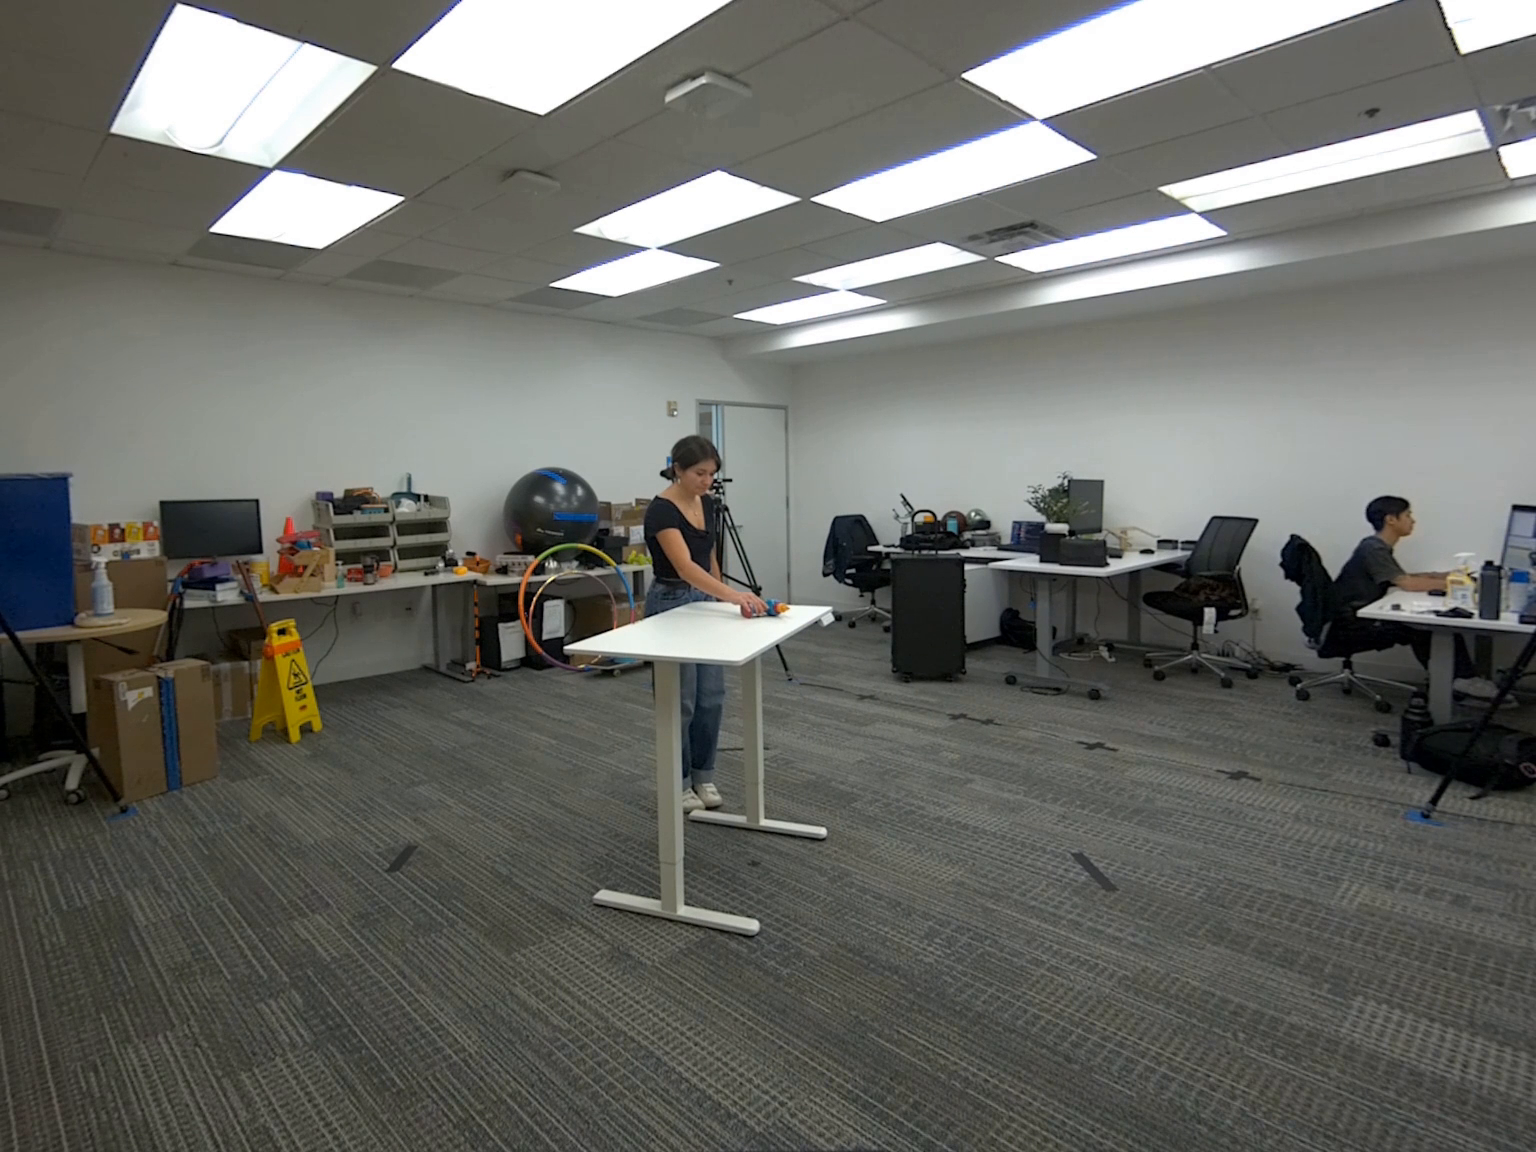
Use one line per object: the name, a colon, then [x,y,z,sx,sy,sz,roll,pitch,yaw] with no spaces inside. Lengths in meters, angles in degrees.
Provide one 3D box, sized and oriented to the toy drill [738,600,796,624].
toy drill: [-0.007,0.128,3.152,0.143,0.061,0.174,-3,4,-28]
